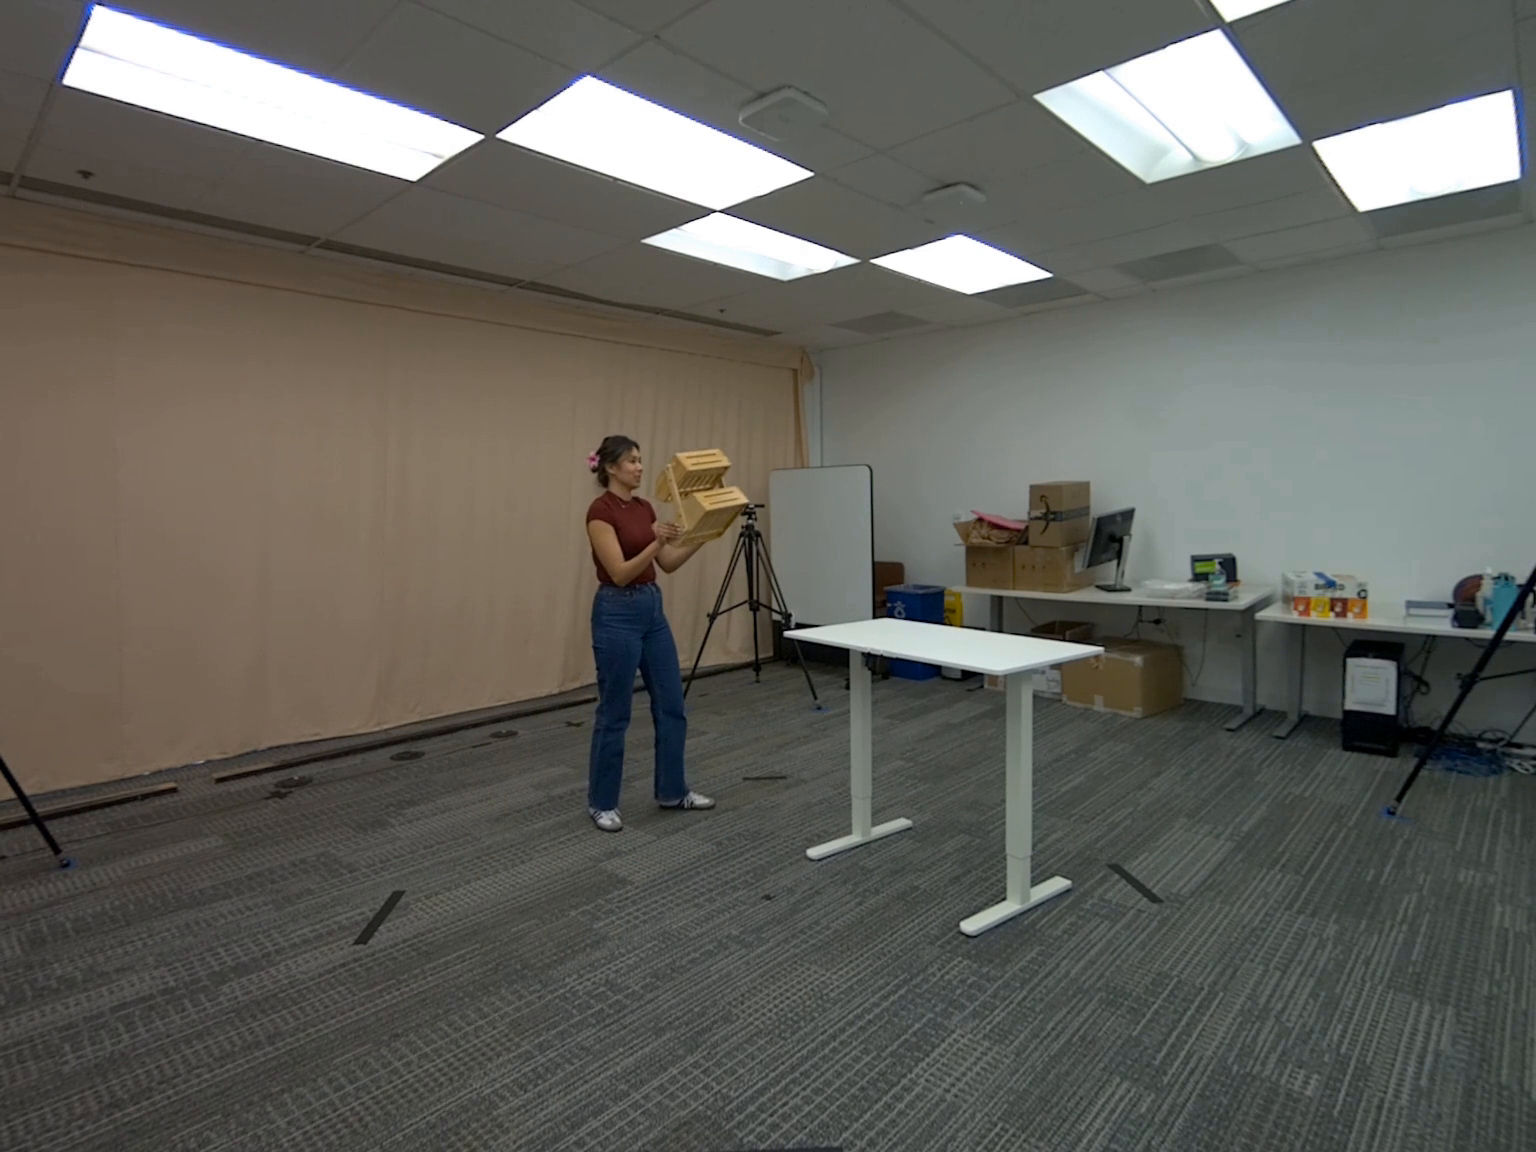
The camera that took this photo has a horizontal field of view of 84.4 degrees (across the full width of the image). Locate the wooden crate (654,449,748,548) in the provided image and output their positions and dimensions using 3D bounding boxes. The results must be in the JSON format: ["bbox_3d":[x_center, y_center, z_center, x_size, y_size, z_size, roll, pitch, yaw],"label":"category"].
[{"bbox_3d":[-0.290,-0.319,3.483,0.316,0.278,0.304,-16,-27,-54],"label":"wooden crate"}]
